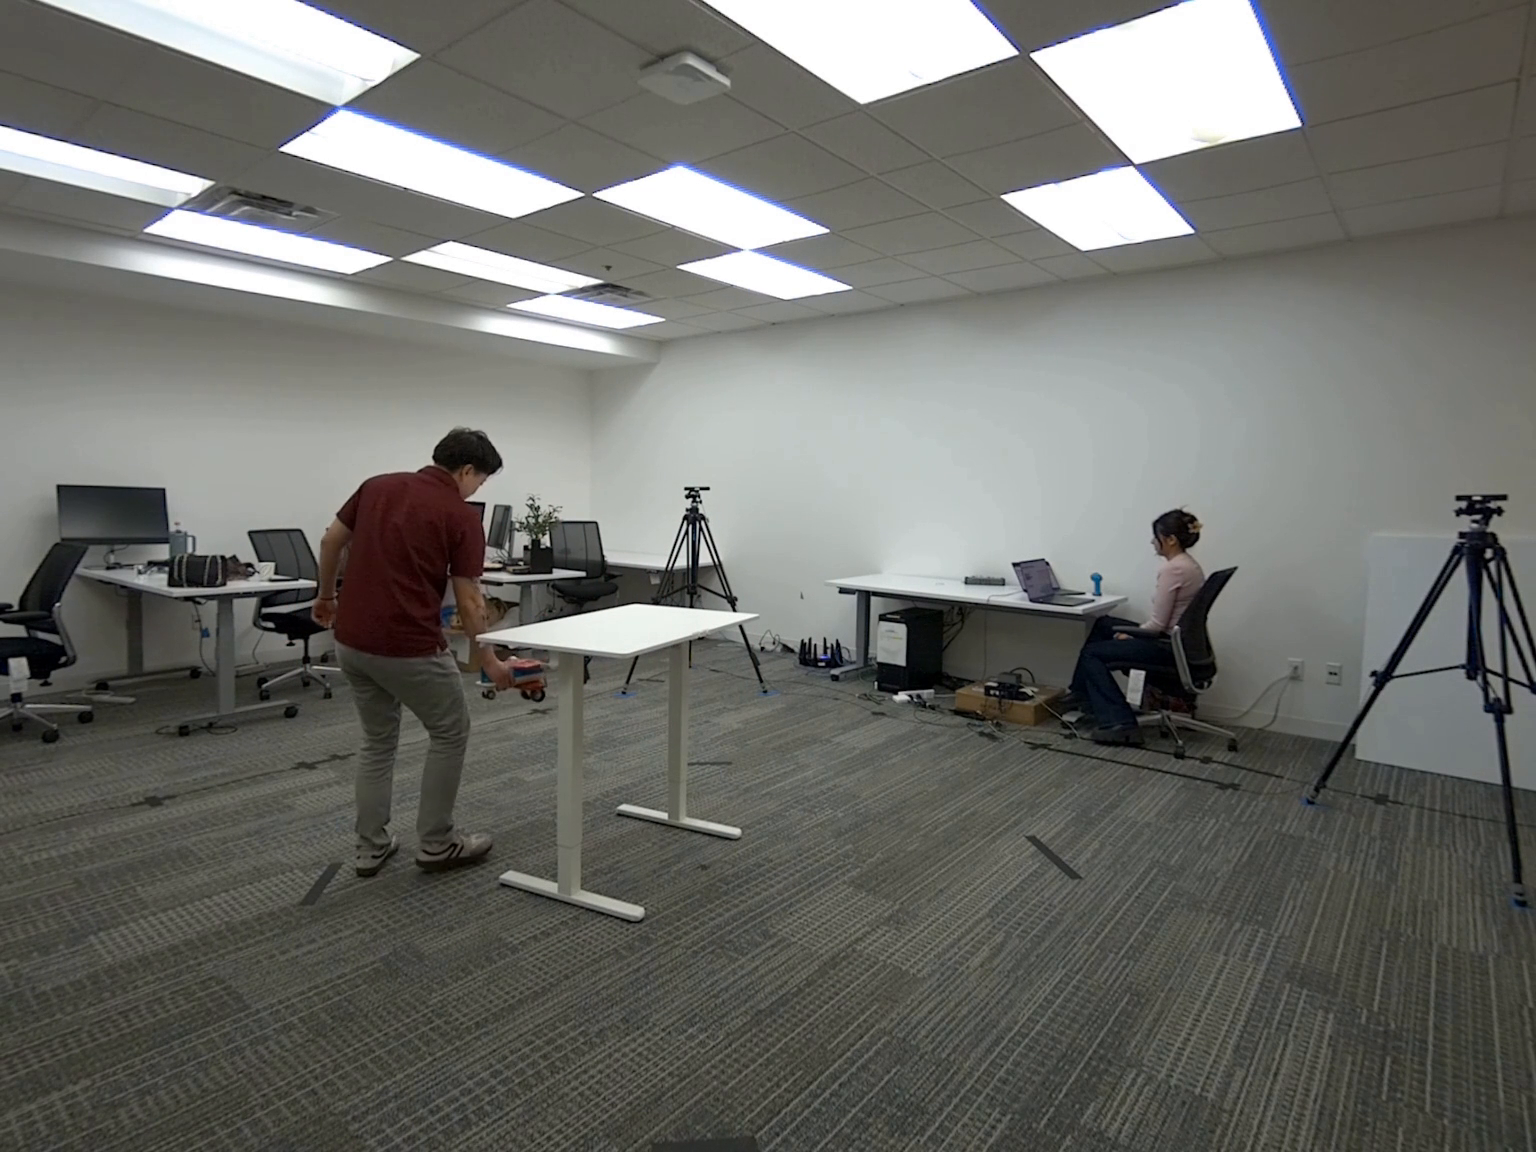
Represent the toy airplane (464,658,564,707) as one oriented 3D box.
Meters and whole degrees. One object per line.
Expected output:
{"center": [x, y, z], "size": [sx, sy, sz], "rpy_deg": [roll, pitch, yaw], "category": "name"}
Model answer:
{"center": [-0.959, 0.398, 3.173], "size": [0.257, 0.157, 0.251], "rpy_deg": [0, -8, 23], "category": "toy airplane"}
